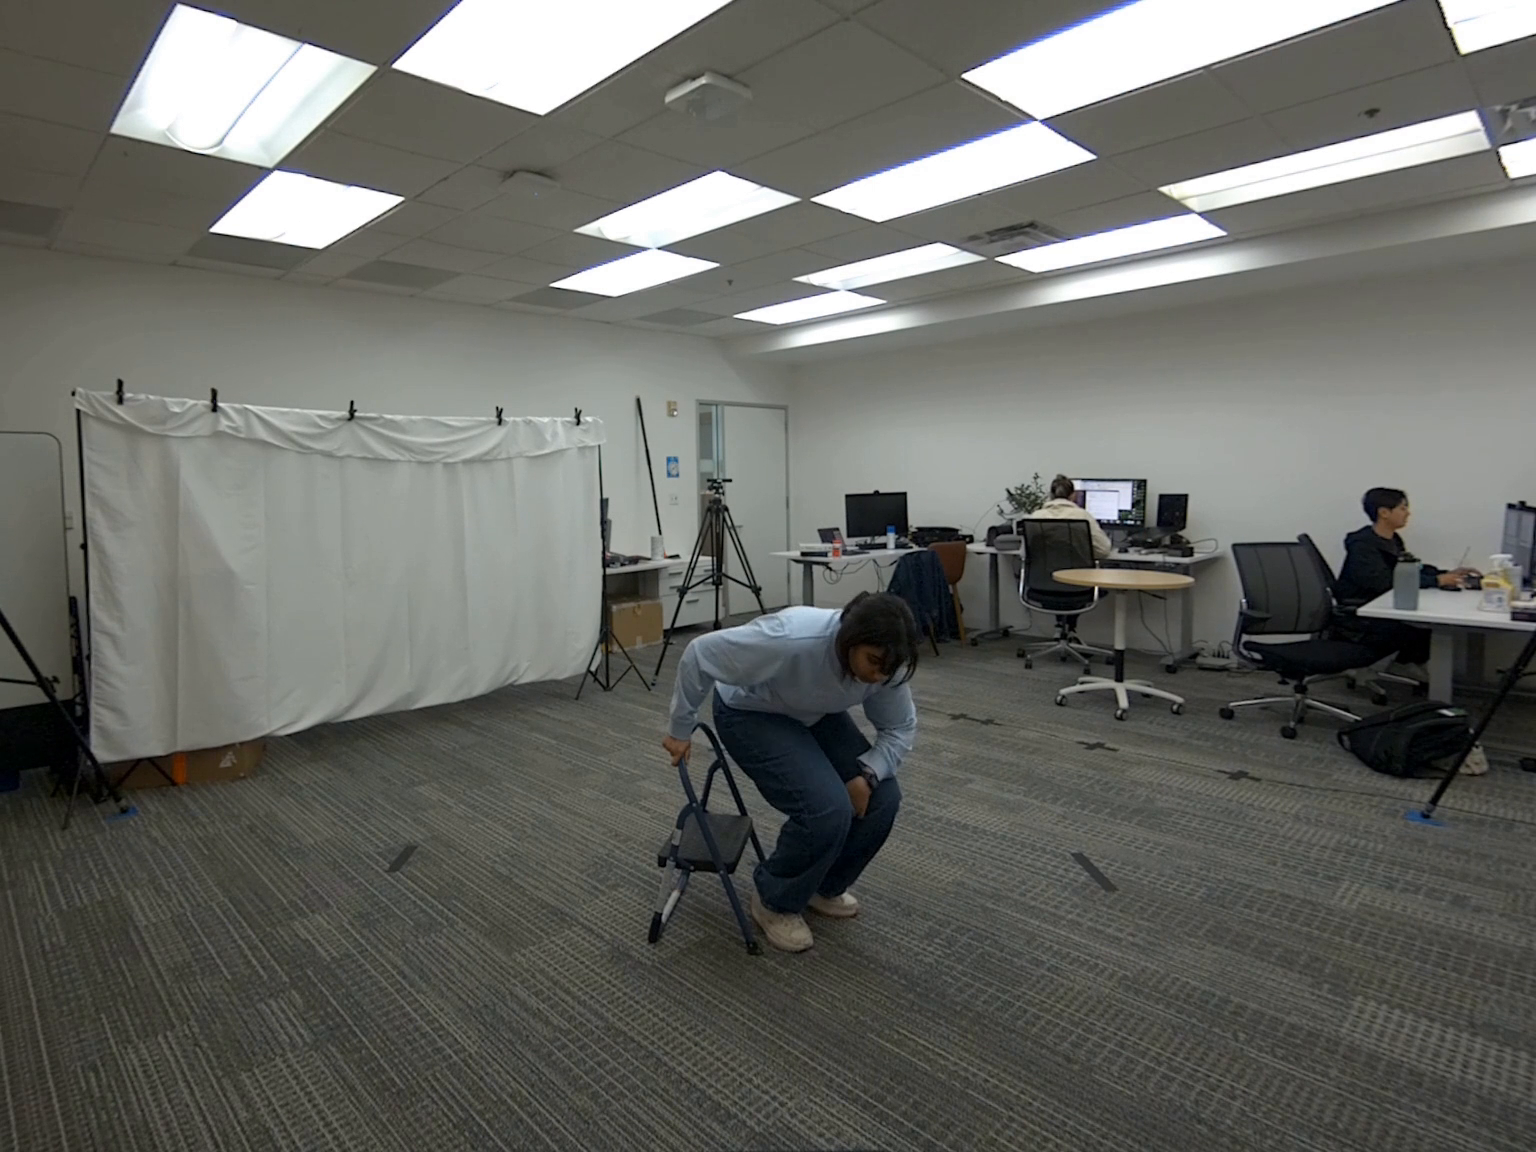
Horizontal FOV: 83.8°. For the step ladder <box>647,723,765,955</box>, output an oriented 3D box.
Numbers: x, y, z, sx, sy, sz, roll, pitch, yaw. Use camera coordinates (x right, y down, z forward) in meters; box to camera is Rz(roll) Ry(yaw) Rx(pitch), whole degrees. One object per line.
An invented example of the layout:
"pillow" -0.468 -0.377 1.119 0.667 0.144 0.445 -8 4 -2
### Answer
"step ladder" -0.166 0.788 2.732 0.353 0.603 0.428 0 5 9
